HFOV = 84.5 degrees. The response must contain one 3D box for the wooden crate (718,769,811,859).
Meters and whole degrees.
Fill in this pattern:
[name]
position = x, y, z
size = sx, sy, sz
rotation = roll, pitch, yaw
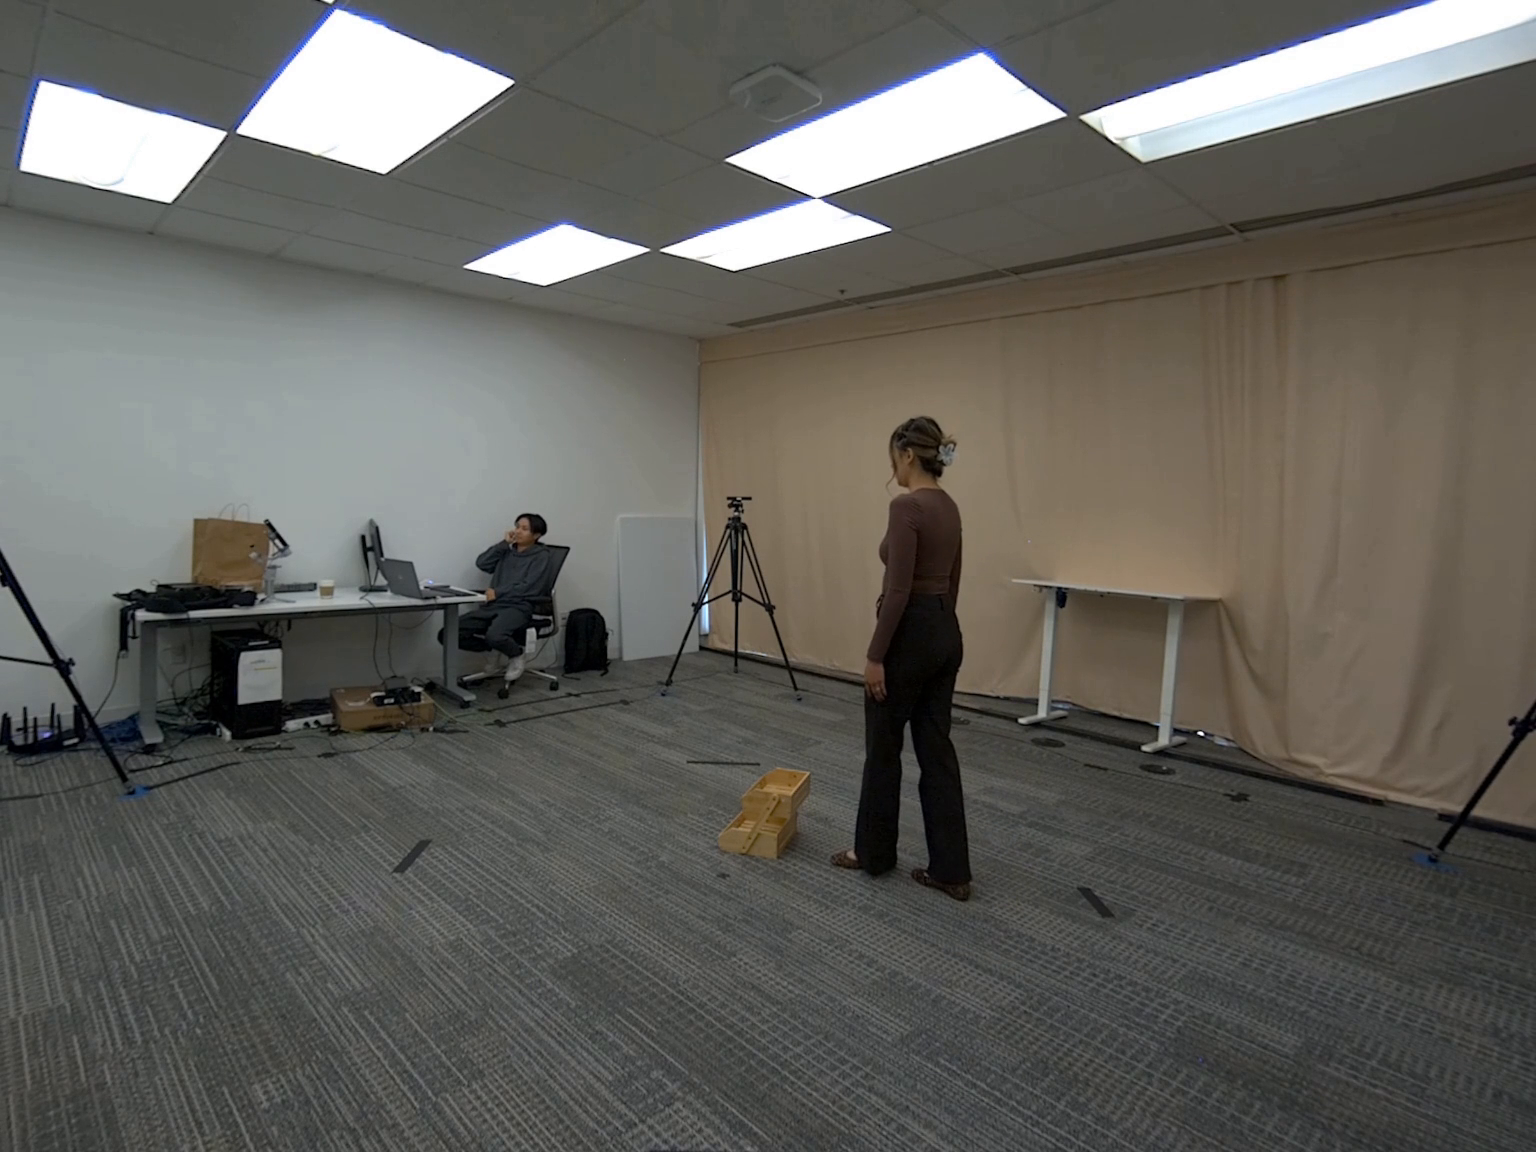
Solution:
[wooden crate]
position = -0.026, 0.949, 3.432
size = 0.306, 0.272, 0.320
rotation = 3, 5, 18
